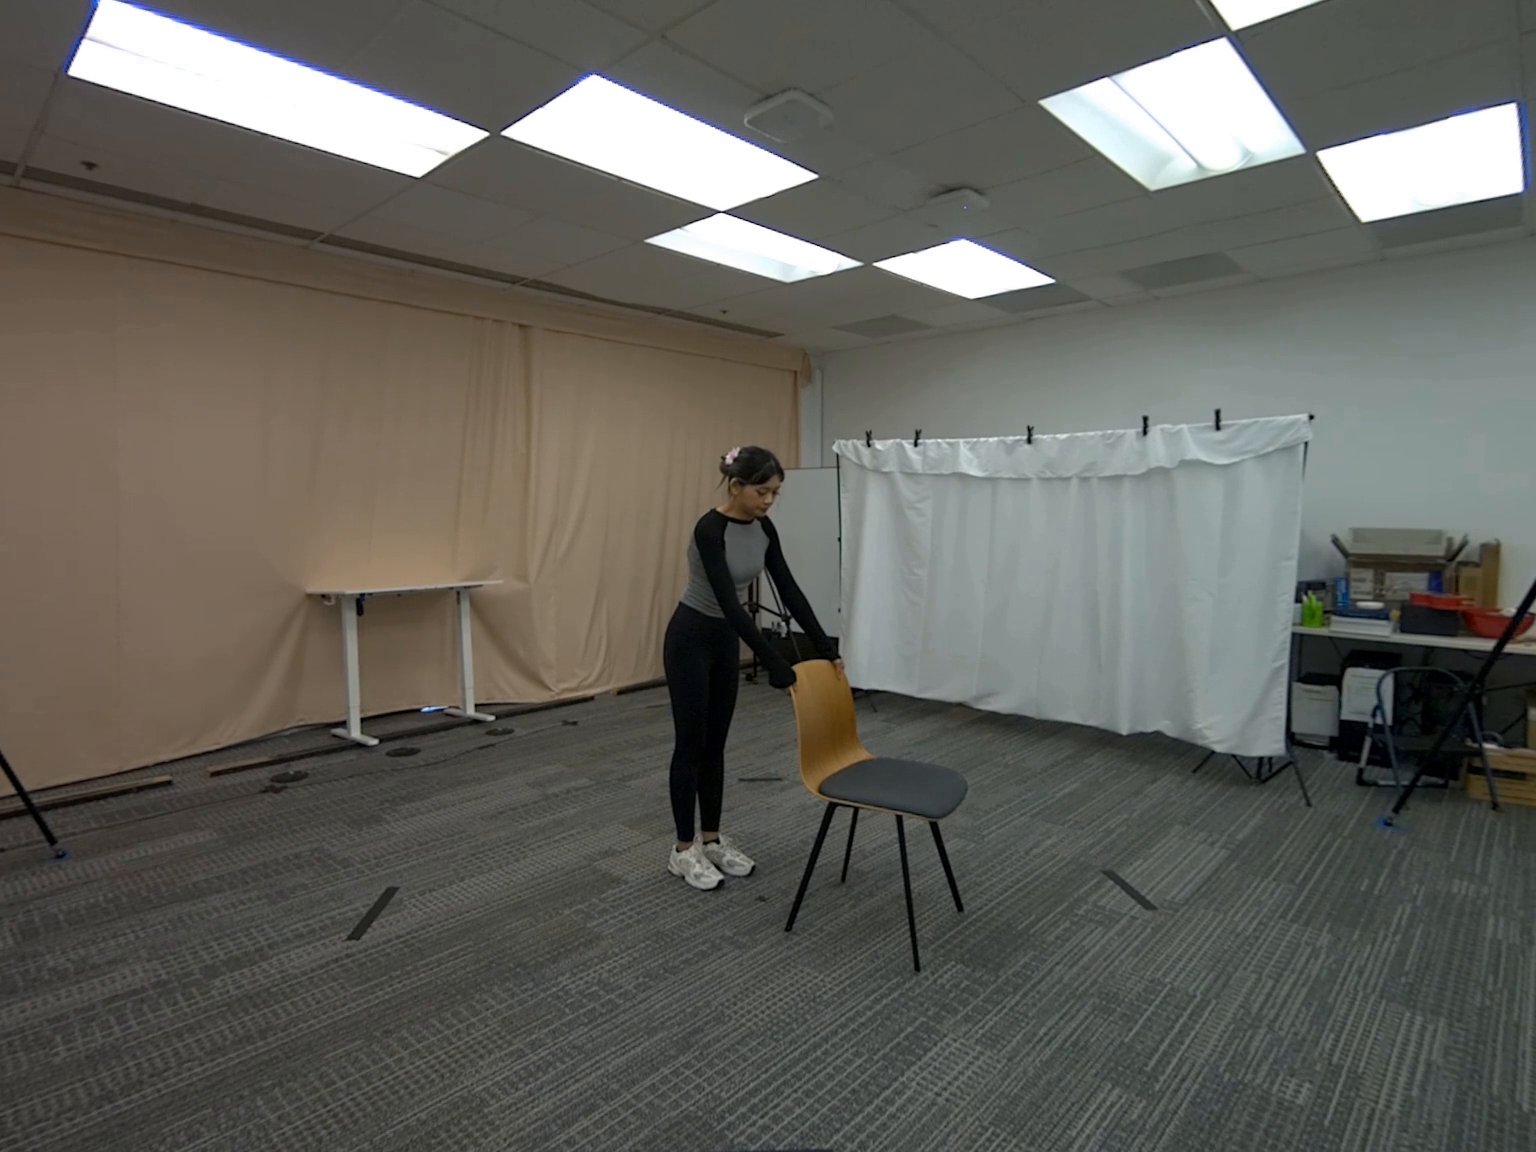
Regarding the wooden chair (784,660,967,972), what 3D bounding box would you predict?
[{"bbox_3d":[0.372,0.729,2.788,0.538,0.877,0.465,-4,0,32],"label":"wooden chair"}]
